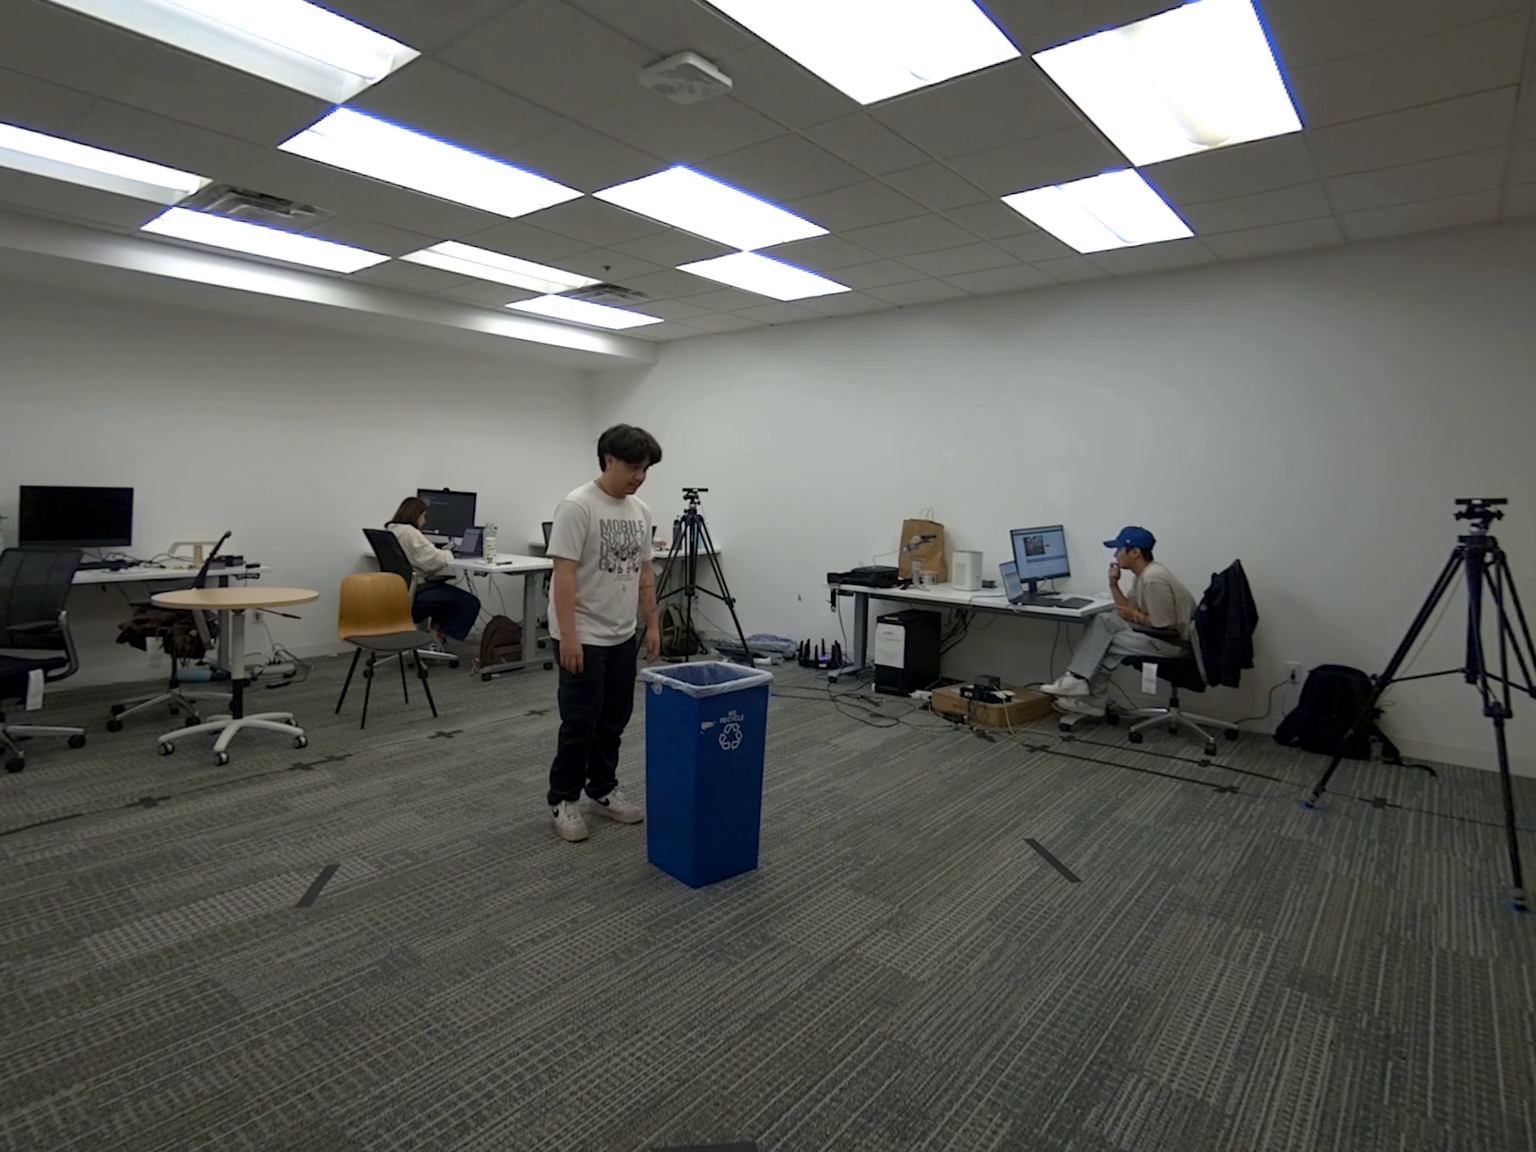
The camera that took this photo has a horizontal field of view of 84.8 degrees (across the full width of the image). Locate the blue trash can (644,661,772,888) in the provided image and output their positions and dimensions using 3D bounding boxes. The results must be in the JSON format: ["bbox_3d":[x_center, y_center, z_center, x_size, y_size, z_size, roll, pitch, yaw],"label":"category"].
[{"bbox_3d":[-0.240,0.706,3.145,0.363,0.711,0.391,-2,4,-41],"label":"blue trash can"}]
